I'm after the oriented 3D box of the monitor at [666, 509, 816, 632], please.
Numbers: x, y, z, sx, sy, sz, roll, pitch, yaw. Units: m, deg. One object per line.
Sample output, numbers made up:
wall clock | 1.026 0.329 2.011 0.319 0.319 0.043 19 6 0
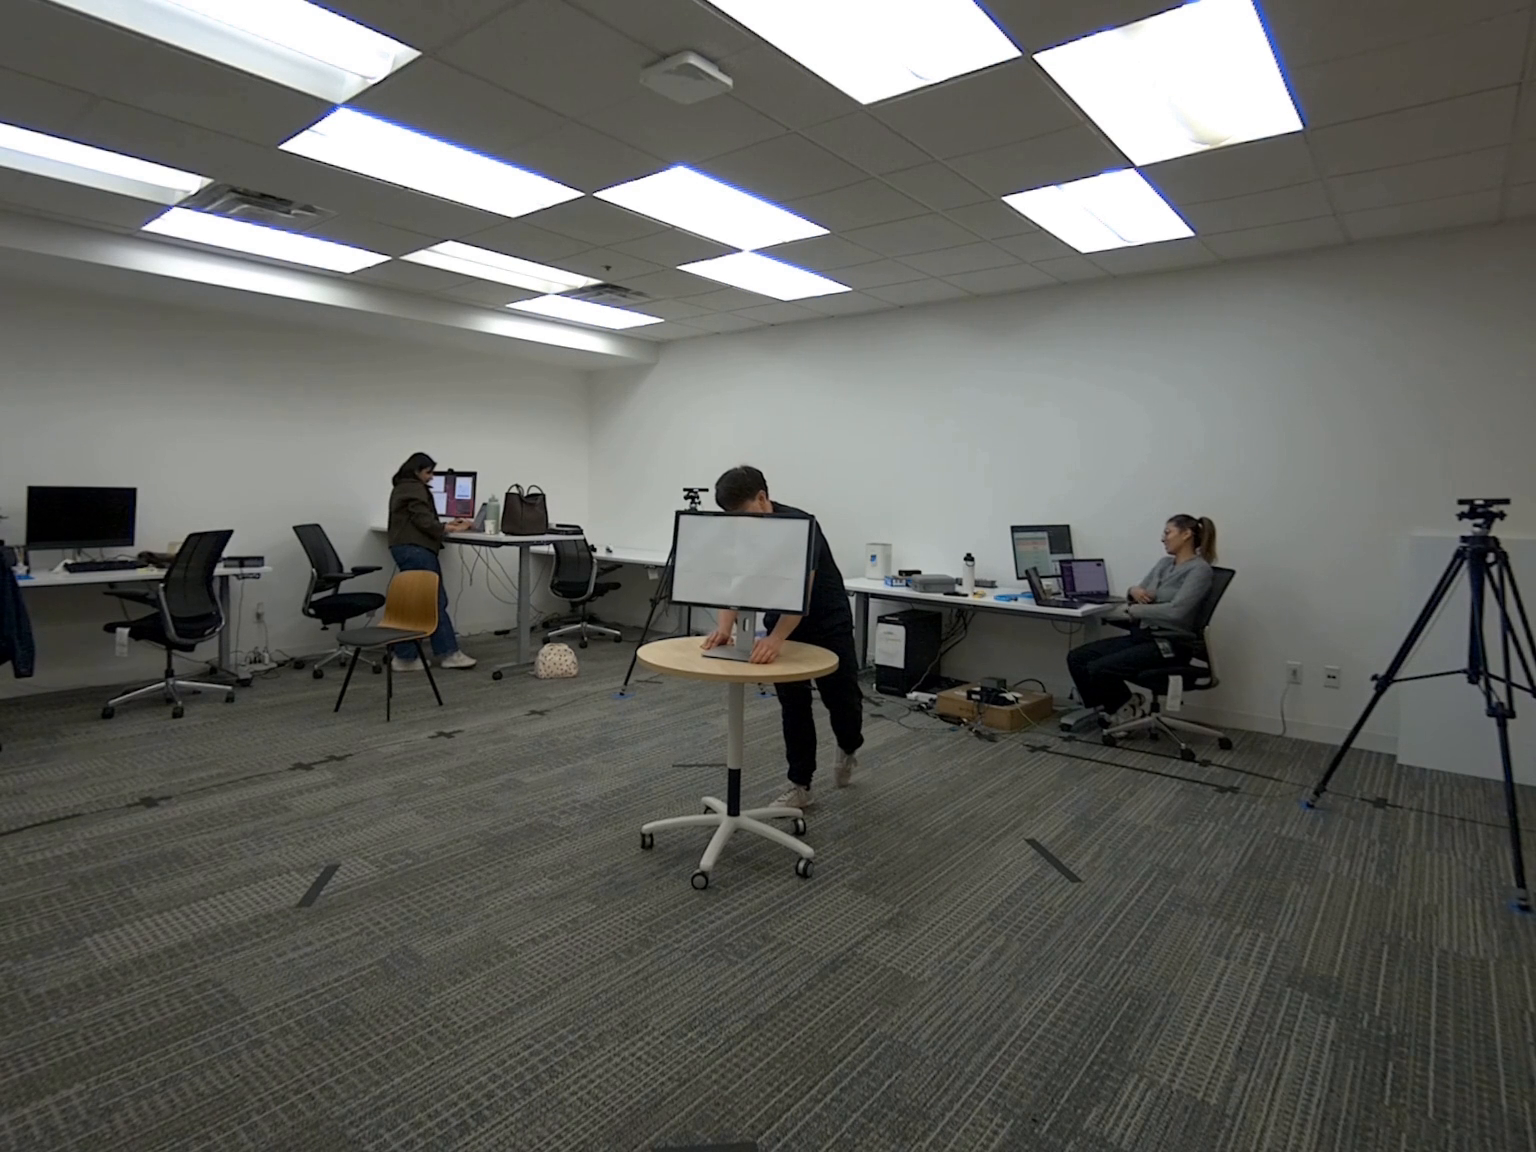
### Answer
monitor | -0.107 0.031 3.192 0.552 0.519 0.184 3 6 22
